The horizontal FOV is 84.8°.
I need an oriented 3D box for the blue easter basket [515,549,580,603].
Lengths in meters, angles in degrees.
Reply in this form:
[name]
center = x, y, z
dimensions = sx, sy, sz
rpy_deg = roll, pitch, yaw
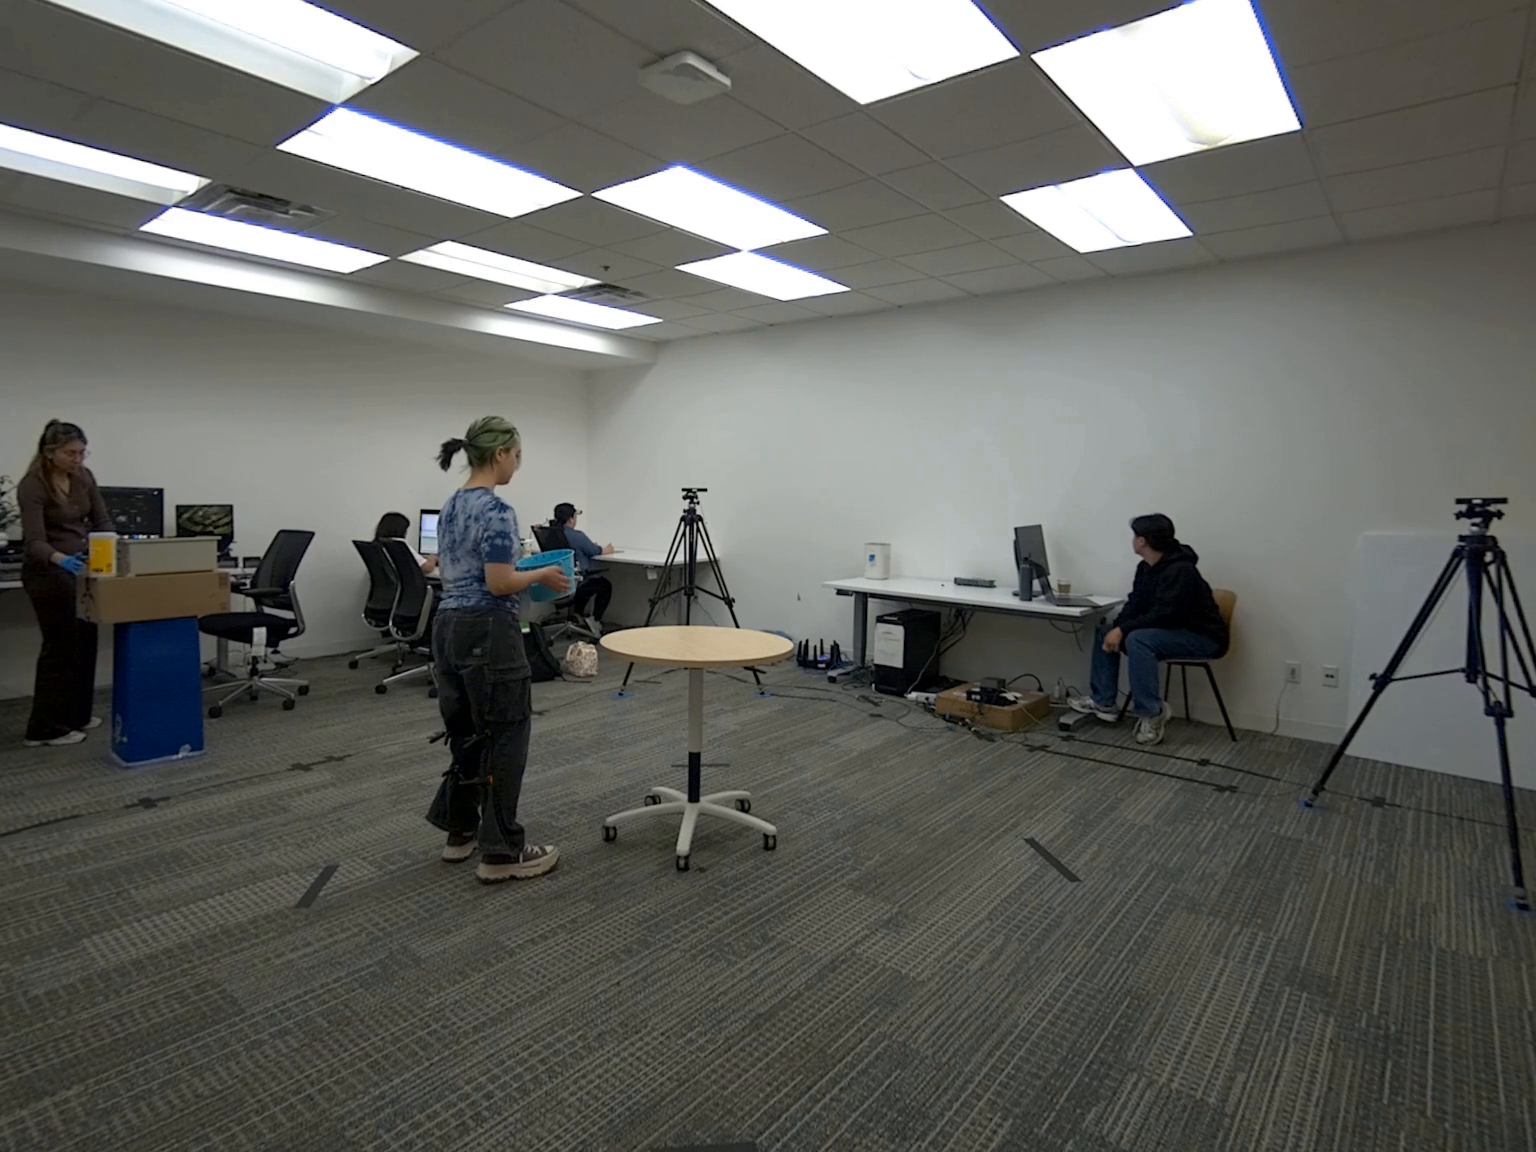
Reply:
[blue easter basket]
center = -0.900, 0.001, 3.360
dimensions = 0.244, 0.154, 0.247
rpy_deg = -11, 13, 1
